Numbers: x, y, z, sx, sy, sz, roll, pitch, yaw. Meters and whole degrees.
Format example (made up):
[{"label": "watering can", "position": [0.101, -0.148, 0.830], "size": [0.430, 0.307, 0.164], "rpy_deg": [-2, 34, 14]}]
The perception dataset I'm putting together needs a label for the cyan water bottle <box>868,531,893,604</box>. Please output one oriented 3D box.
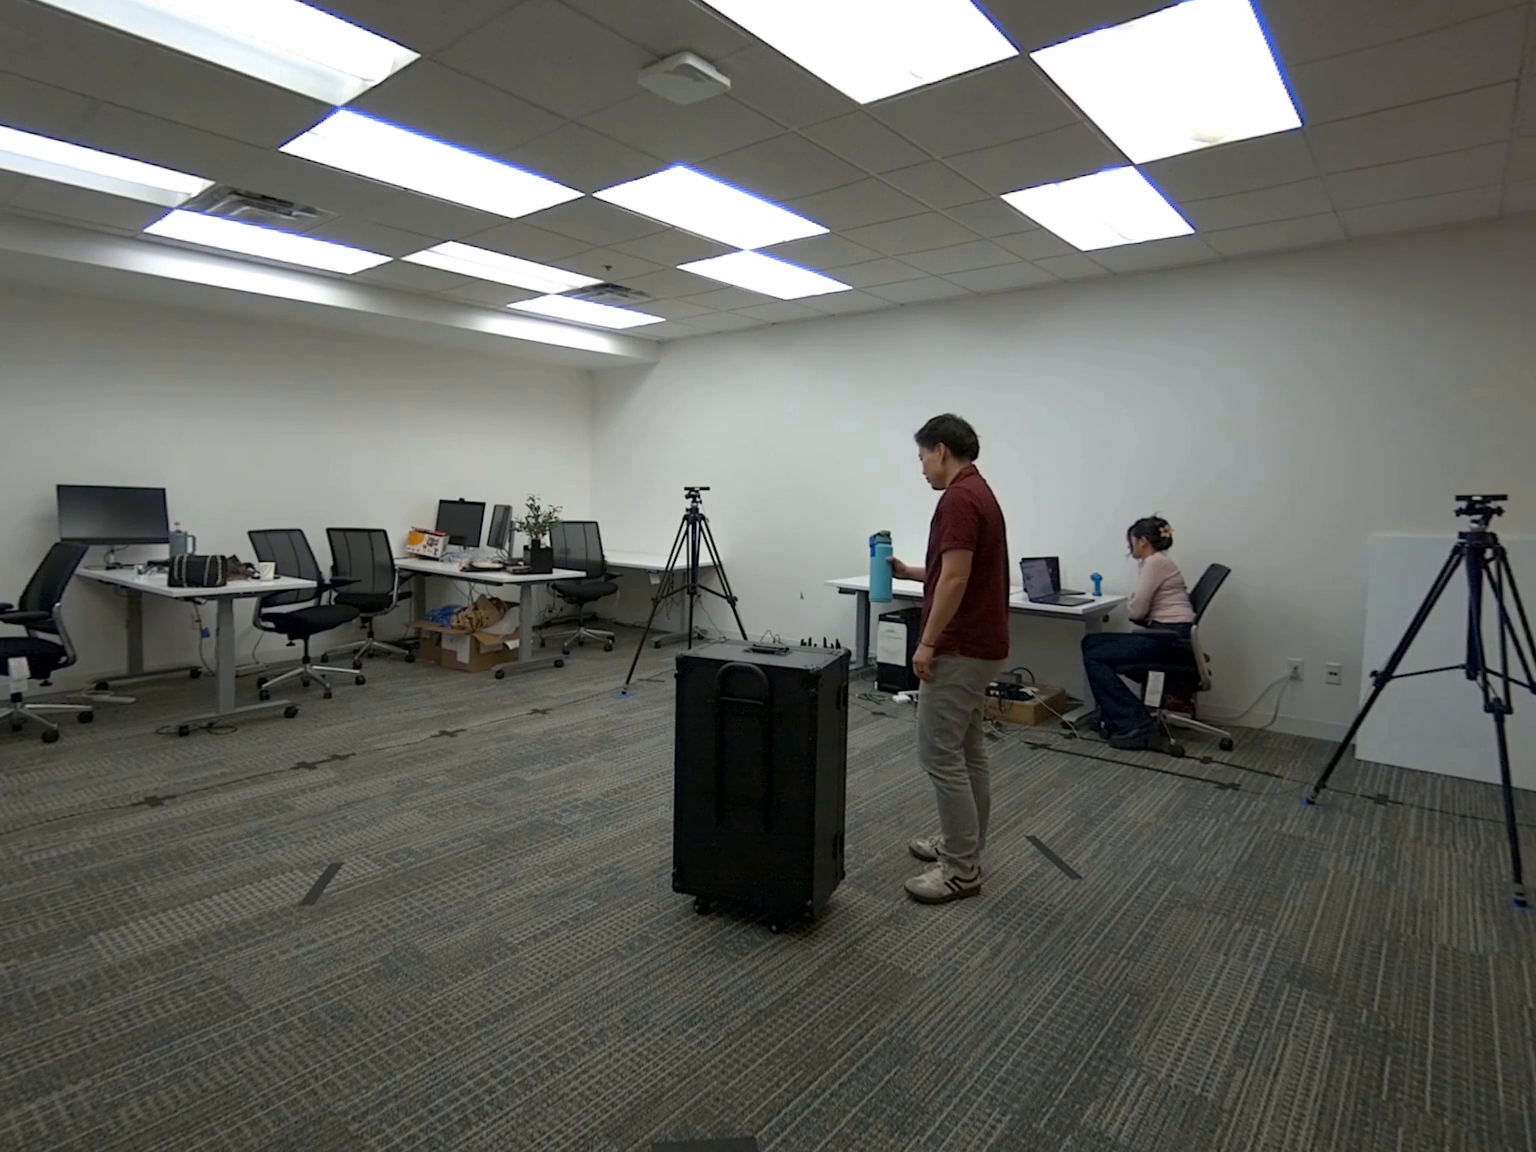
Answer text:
[{"label": "cyan water bottle", "position": [0.446, -0.042, 3.372], "size": [0.092, 0.285, 0.092], "rpy_deg": [2, -5, -2]}]
